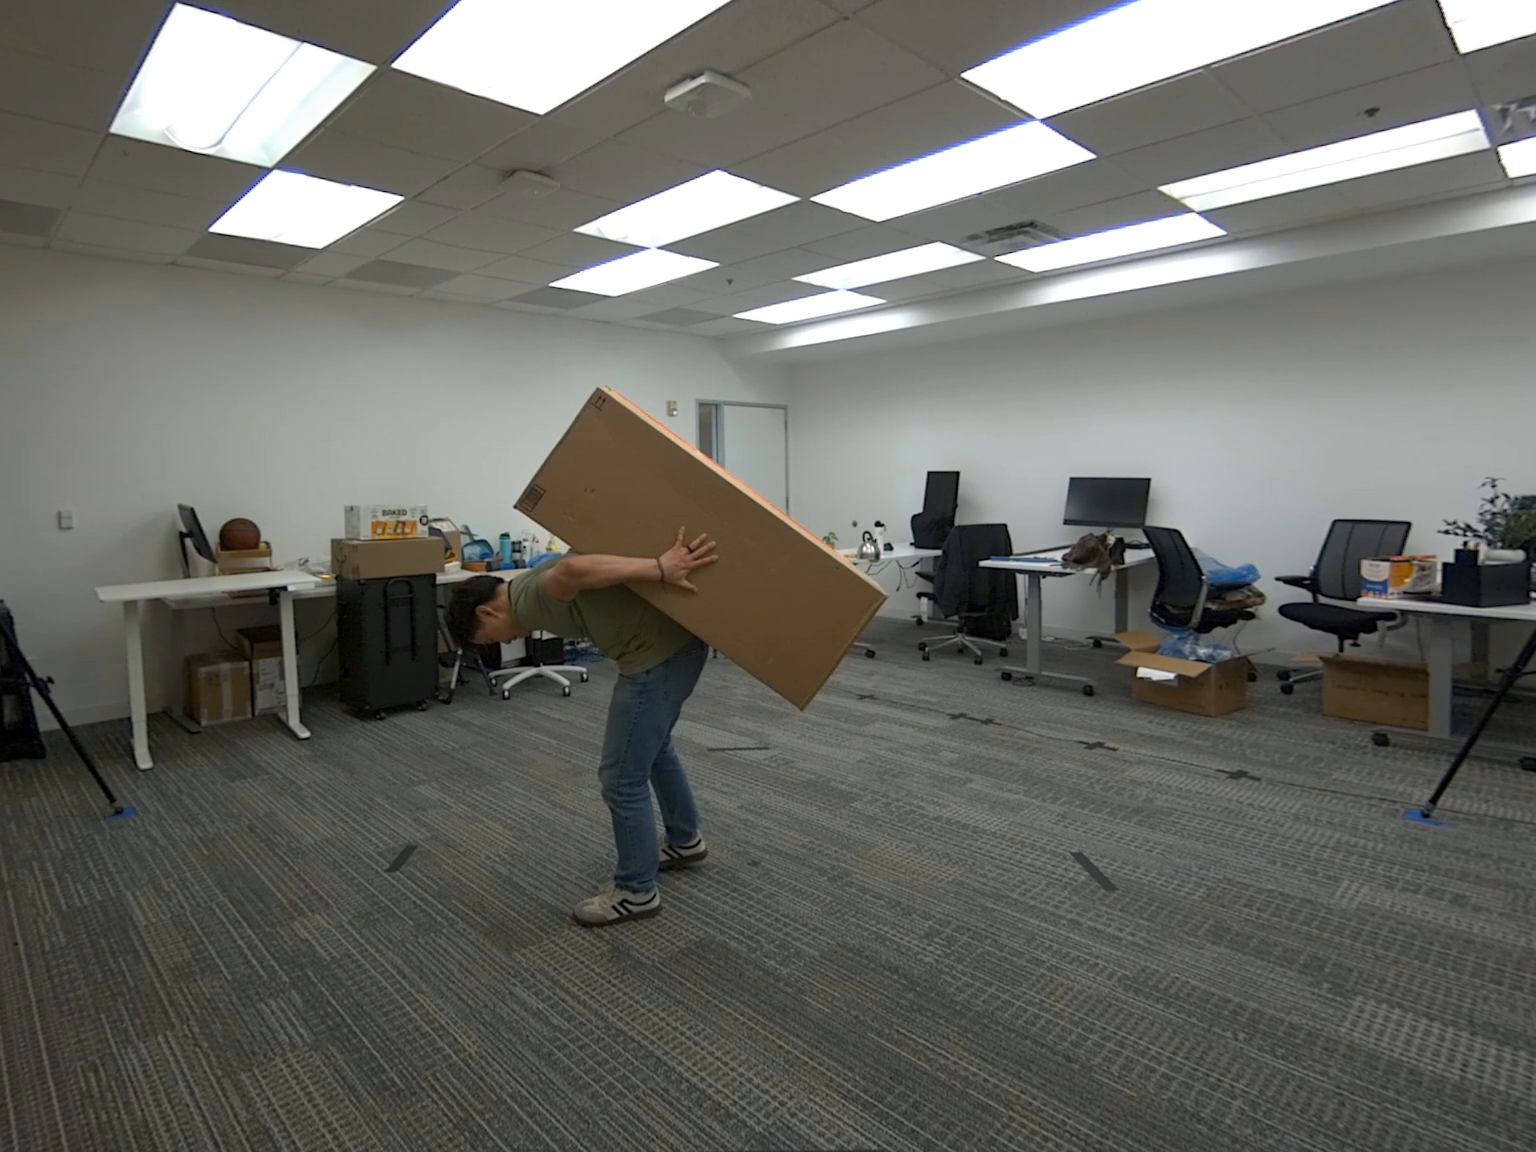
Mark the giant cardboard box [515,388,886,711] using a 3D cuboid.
[{"bbox_3d":[-0.209,-0.116,2.717,1.020,0.426,0.582,36,6,-5],"label":"giant cardboard box"}]
